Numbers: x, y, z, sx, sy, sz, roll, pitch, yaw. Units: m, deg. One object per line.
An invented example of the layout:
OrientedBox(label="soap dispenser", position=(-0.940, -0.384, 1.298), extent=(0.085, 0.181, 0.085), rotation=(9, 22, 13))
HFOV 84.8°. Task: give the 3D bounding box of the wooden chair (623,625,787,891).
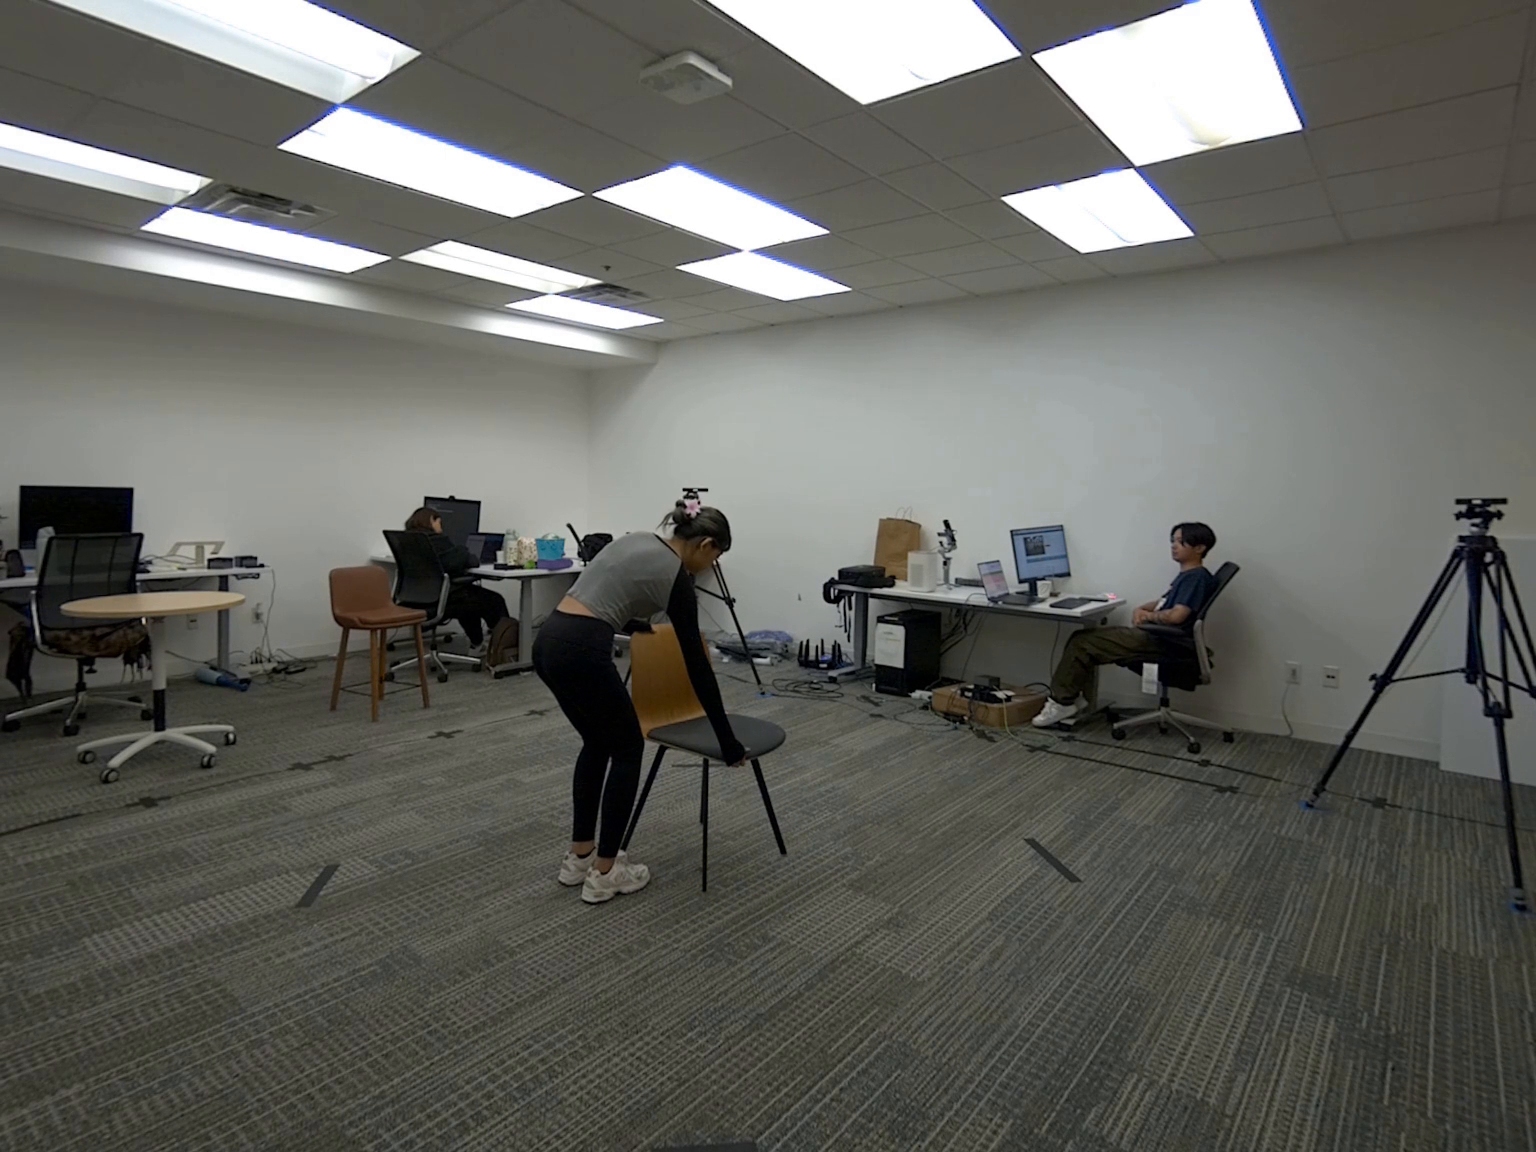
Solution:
OrientedBox(label="wooden chair", position=(-0.237, 0.630, 3.211), extent=(0.539, 0.877, 0.464), rotation=(-2, 0, 41))
